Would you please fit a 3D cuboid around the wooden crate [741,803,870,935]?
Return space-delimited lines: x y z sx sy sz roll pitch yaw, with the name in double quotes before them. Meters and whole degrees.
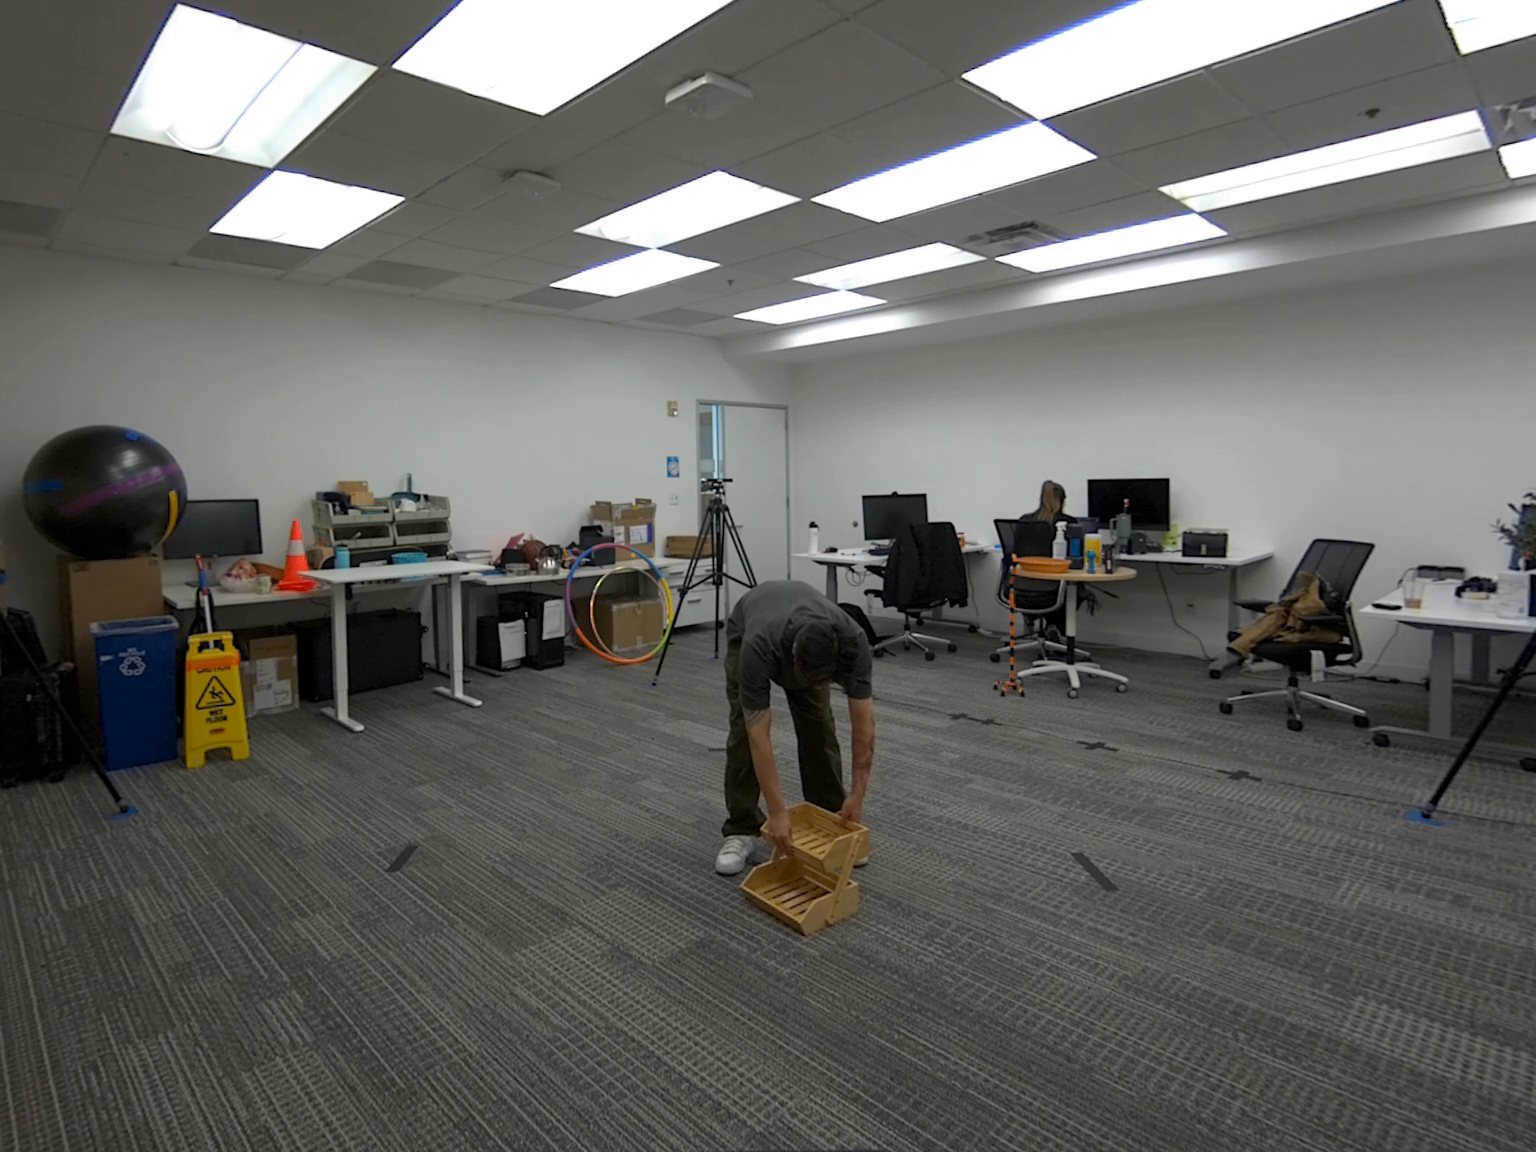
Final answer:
"wooden crate" 0.120 0.942 2.797 0.294 0.272 0.334 -4 6 -38
